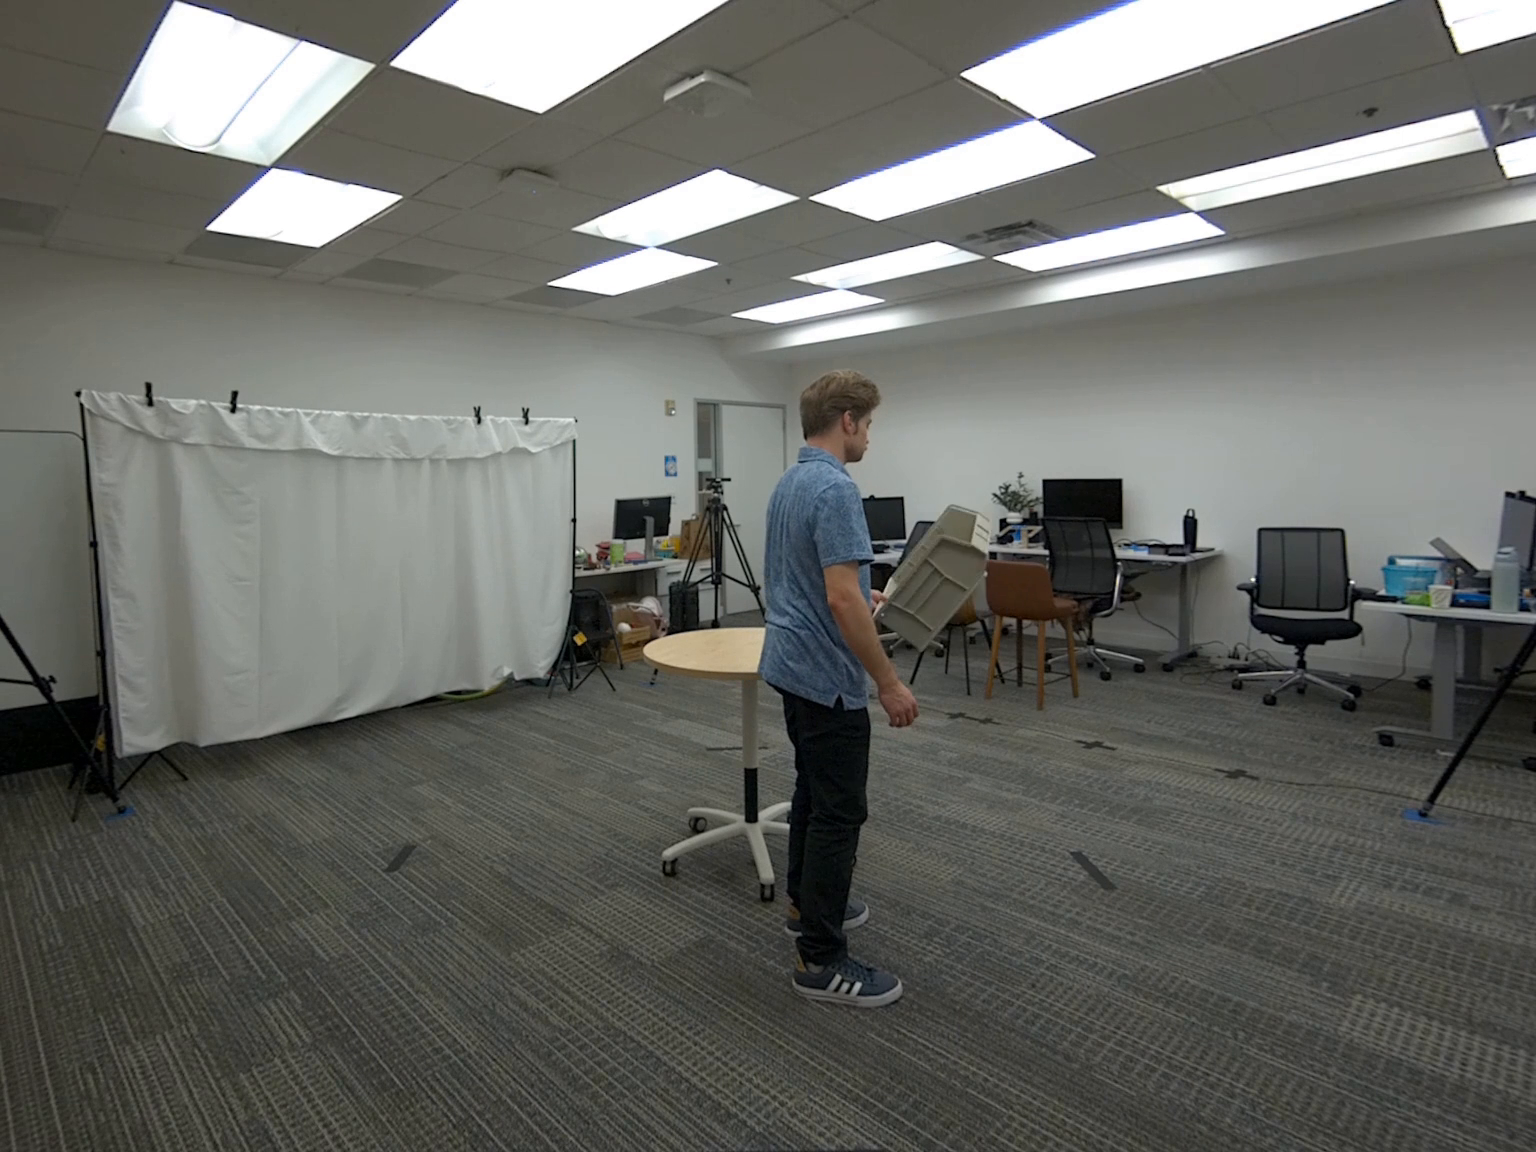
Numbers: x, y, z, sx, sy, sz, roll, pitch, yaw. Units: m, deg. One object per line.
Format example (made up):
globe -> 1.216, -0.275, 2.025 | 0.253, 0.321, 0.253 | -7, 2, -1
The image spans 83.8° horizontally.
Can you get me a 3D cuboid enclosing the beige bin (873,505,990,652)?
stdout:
beige bin -> 0.544, -0.008, 2.715 | 0.190, 0.375, 0.421 | 36, 23, 3
